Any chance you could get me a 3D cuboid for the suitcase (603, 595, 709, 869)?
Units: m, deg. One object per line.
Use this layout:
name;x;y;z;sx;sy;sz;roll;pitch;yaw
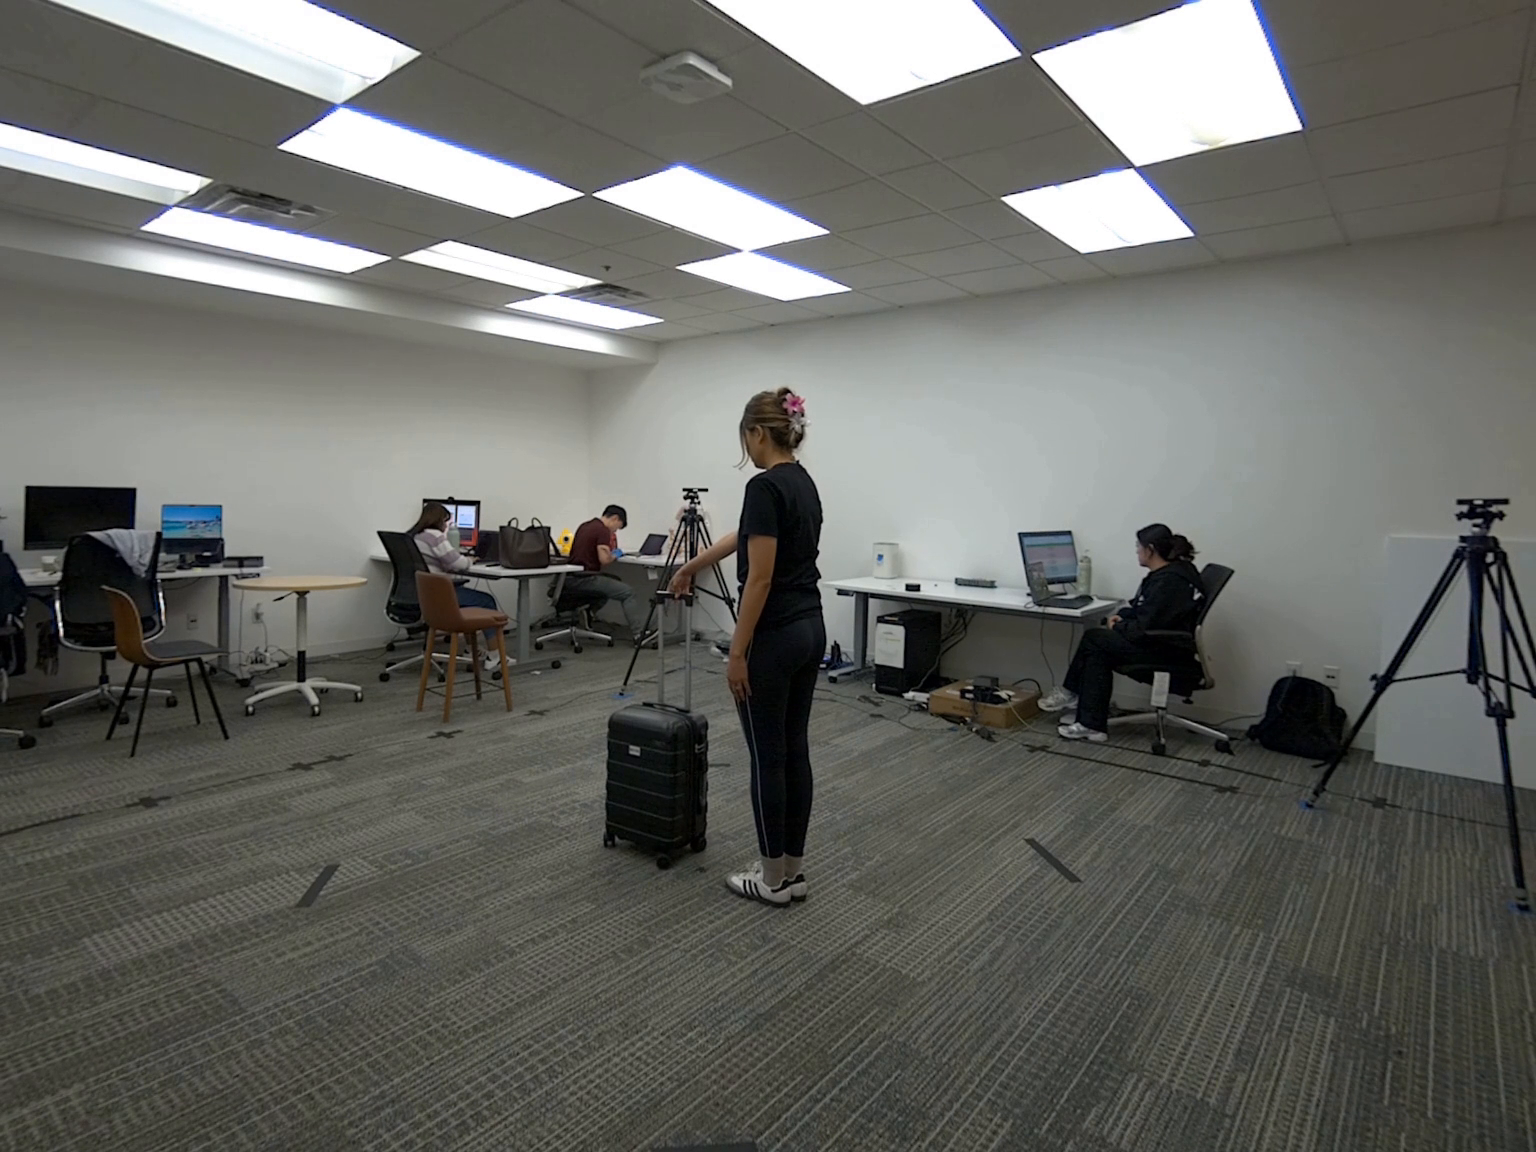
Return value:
suitcase;-0.437;0.576;3.266;0.396;0.975;0.250;3;4;33
